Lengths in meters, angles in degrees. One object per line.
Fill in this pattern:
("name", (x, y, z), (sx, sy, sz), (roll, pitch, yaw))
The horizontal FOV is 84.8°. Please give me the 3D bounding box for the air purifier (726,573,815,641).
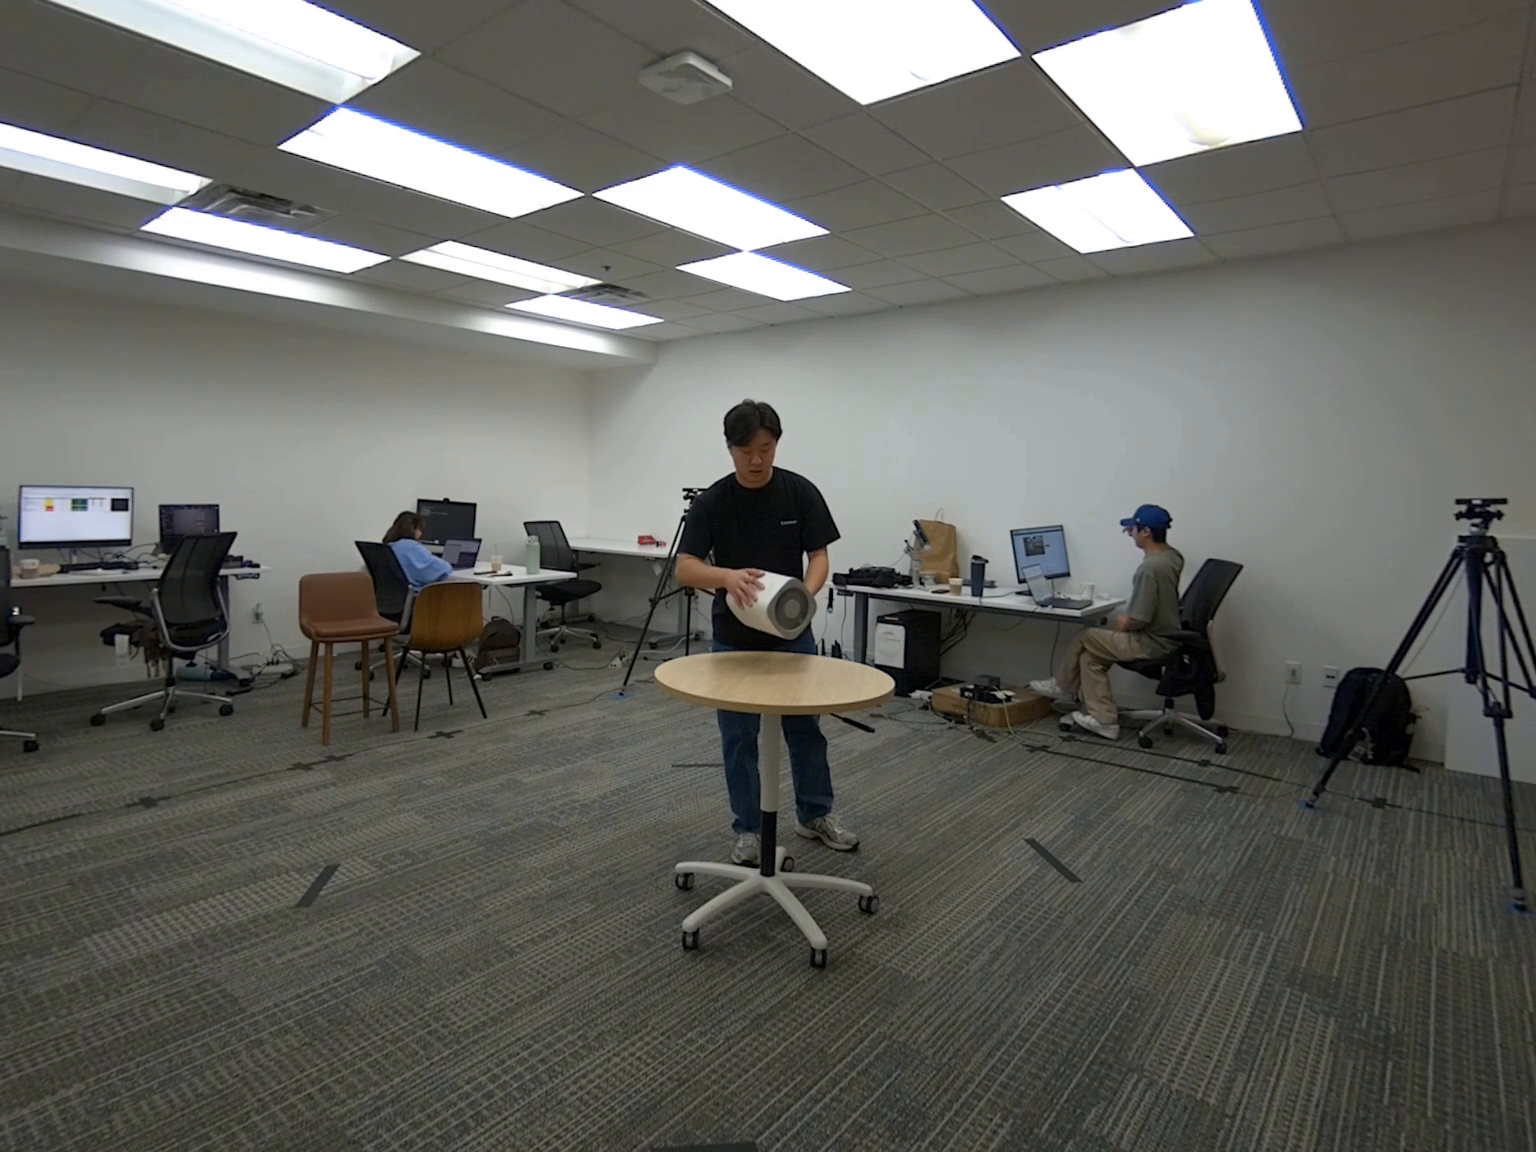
("air purifier", (-0.004, 0.085, 2.845), (0.166, 0.171, 0.274), (49, -21, -27))
